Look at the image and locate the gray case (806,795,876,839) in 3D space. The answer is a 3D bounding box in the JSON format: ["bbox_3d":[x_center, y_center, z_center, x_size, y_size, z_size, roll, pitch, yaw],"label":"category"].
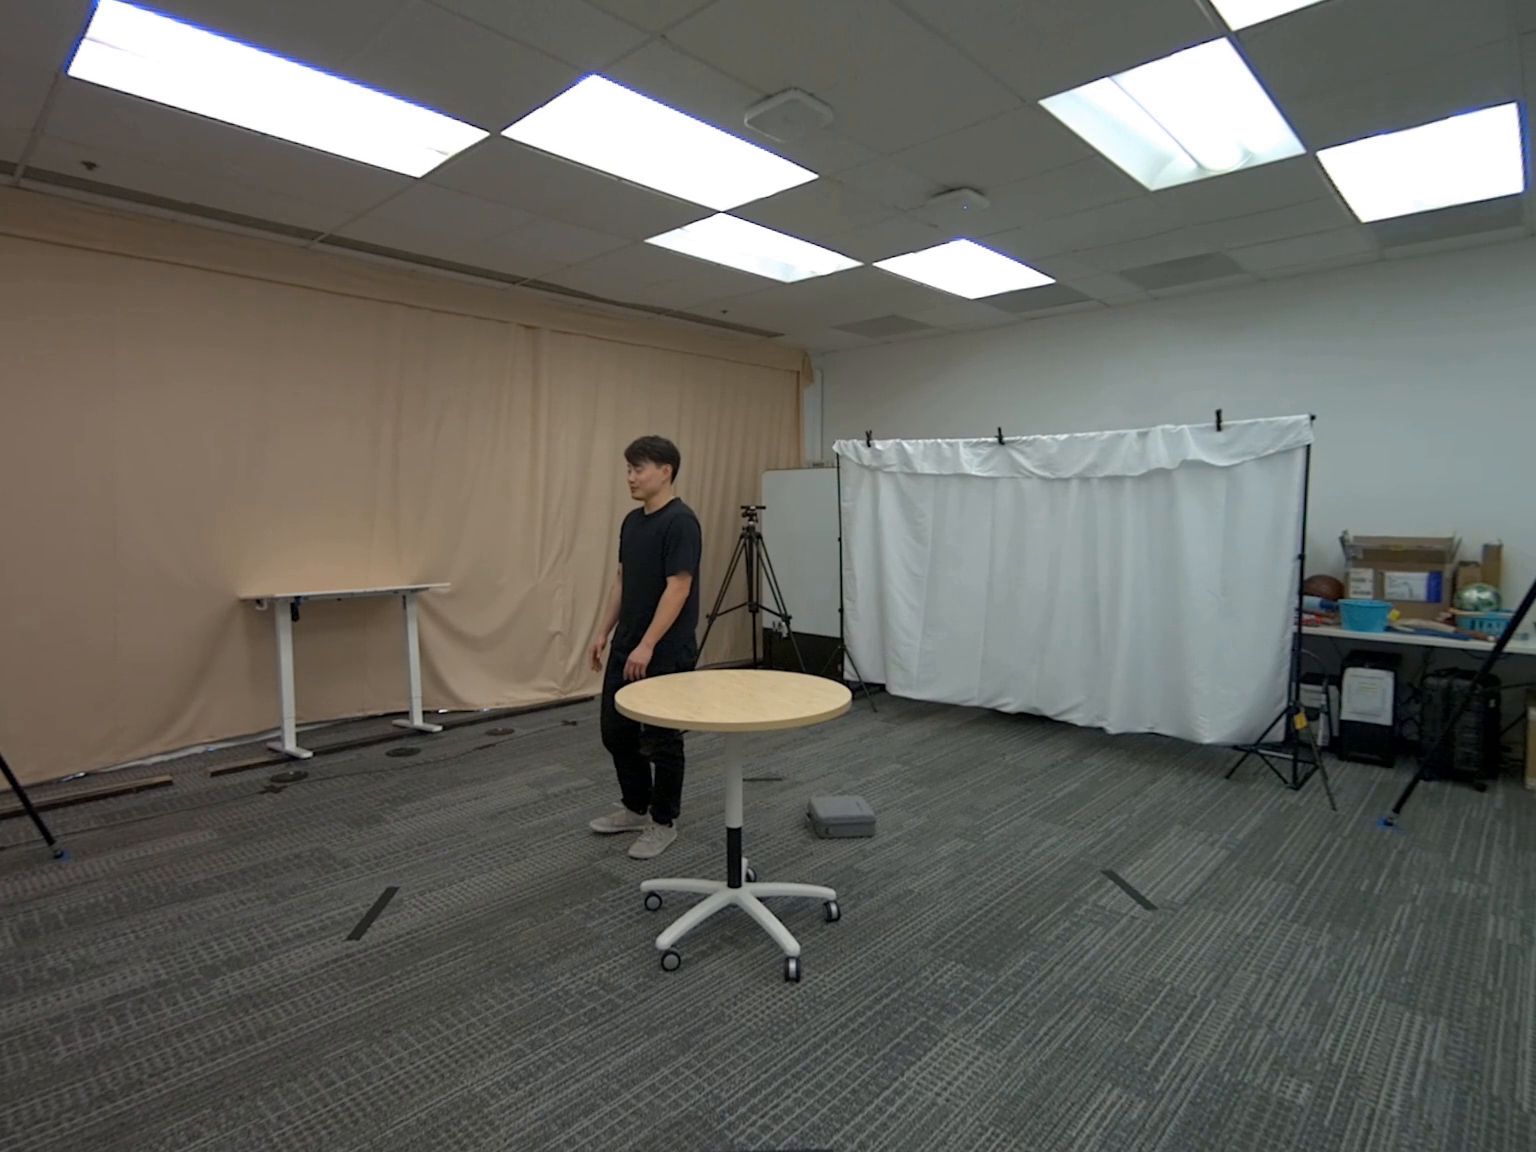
[{"bbox_3d":[0.321,1.033,3.636,0.259,0.104,0.259,0,3,-7],"label":"gray case"}]
